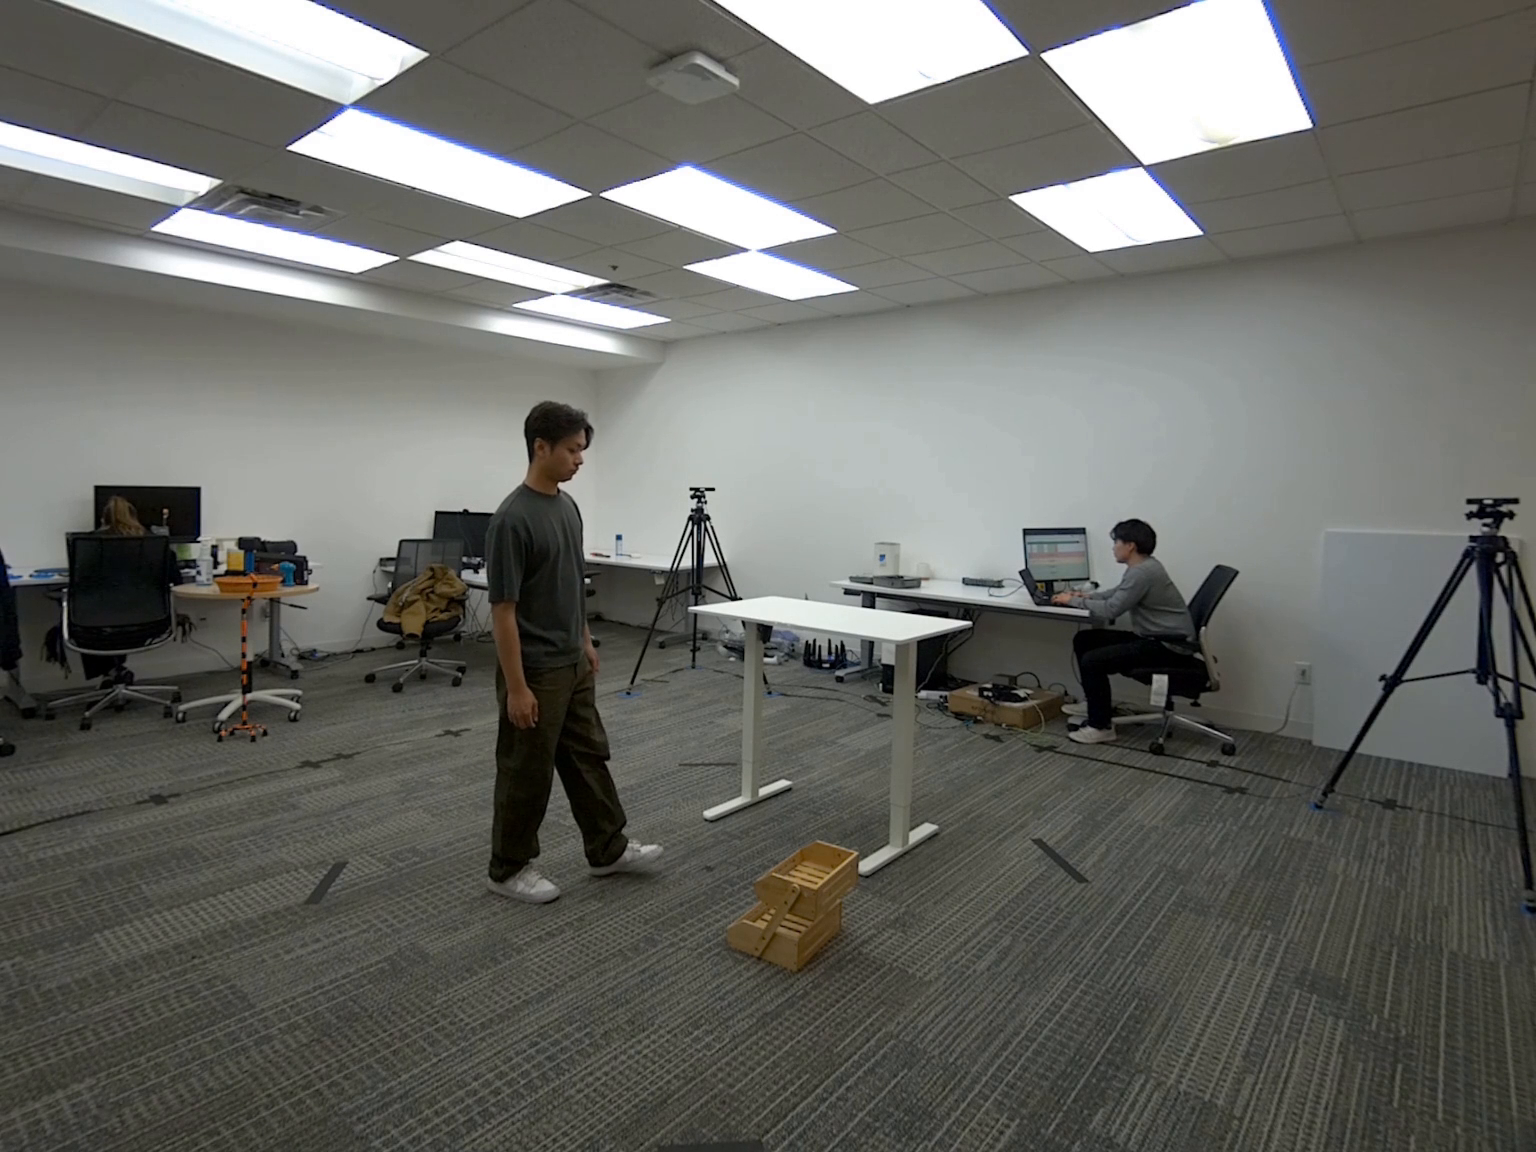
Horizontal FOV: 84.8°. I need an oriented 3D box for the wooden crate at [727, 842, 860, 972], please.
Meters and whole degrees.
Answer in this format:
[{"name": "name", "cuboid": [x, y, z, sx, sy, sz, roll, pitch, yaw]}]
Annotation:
[{"name": "wooden crate", "cuboid": [0.069, 0.985, 2.623, 0.311, 0.272, 0.316, 4, 5, 32]}]
